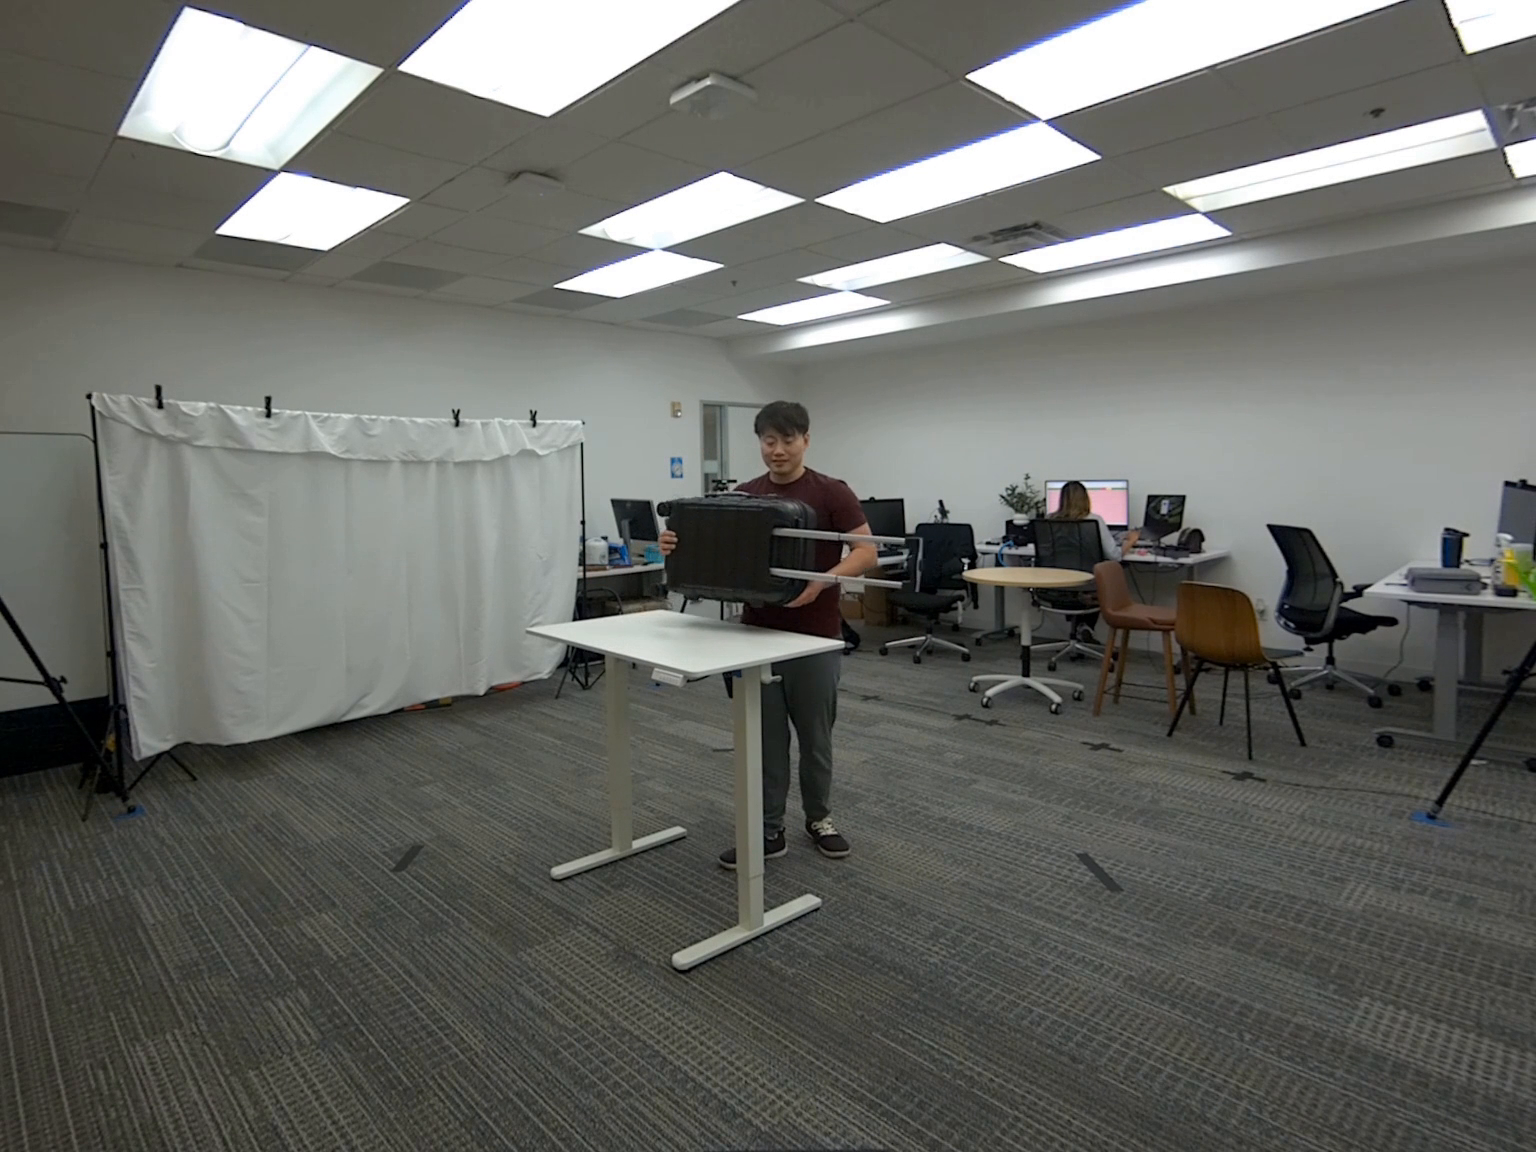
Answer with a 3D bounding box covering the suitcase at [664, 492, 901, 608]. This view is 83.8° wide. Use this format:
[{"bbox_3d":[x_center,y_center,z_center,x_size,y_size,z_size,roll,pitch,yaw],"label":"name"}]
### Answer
[{"bbox_3d":[0.066,-0.077,2.856,1.006,0.384,0.249,4,-1,33],"label":"suitcase"}]
